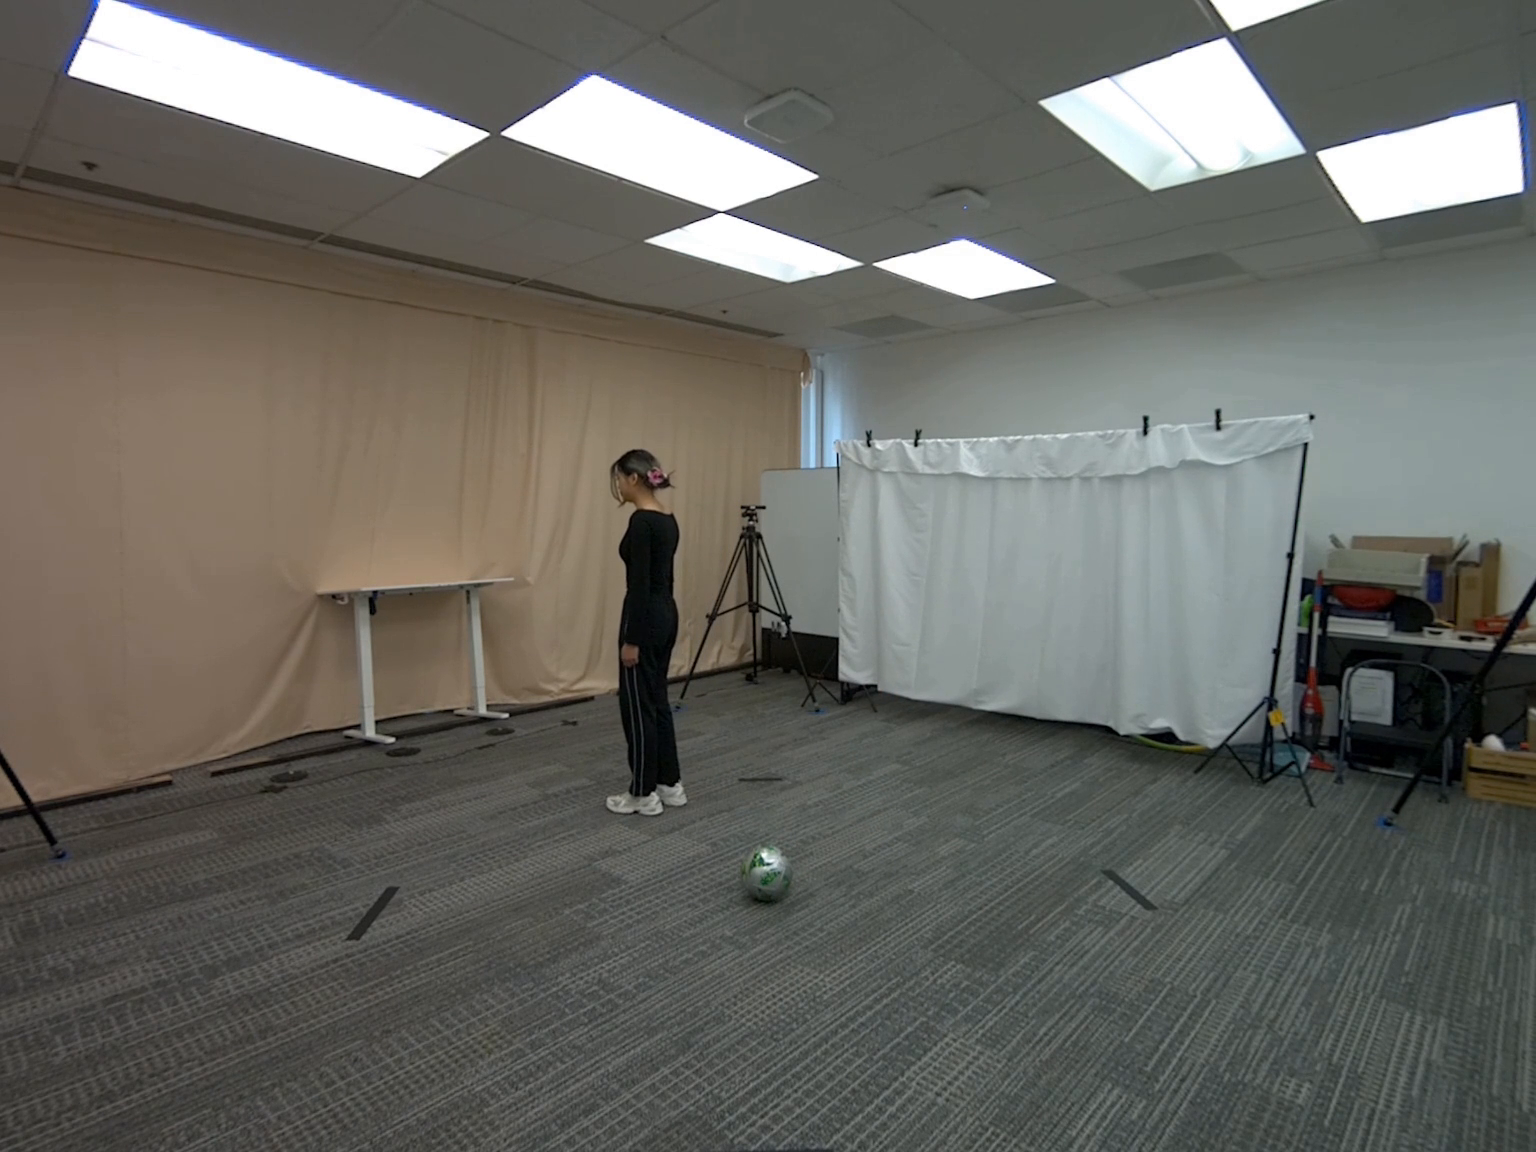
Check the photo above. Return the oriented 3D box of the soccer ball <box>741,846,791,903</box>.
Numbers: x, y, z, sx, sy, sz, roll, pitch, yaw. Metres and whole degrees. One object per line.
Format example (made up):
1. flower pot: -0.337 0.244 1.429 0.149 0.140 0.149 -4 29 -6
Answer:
1. soccer ball: -0.001 1.049 2.980 0.187 0.187 0.188 0 4 -2
